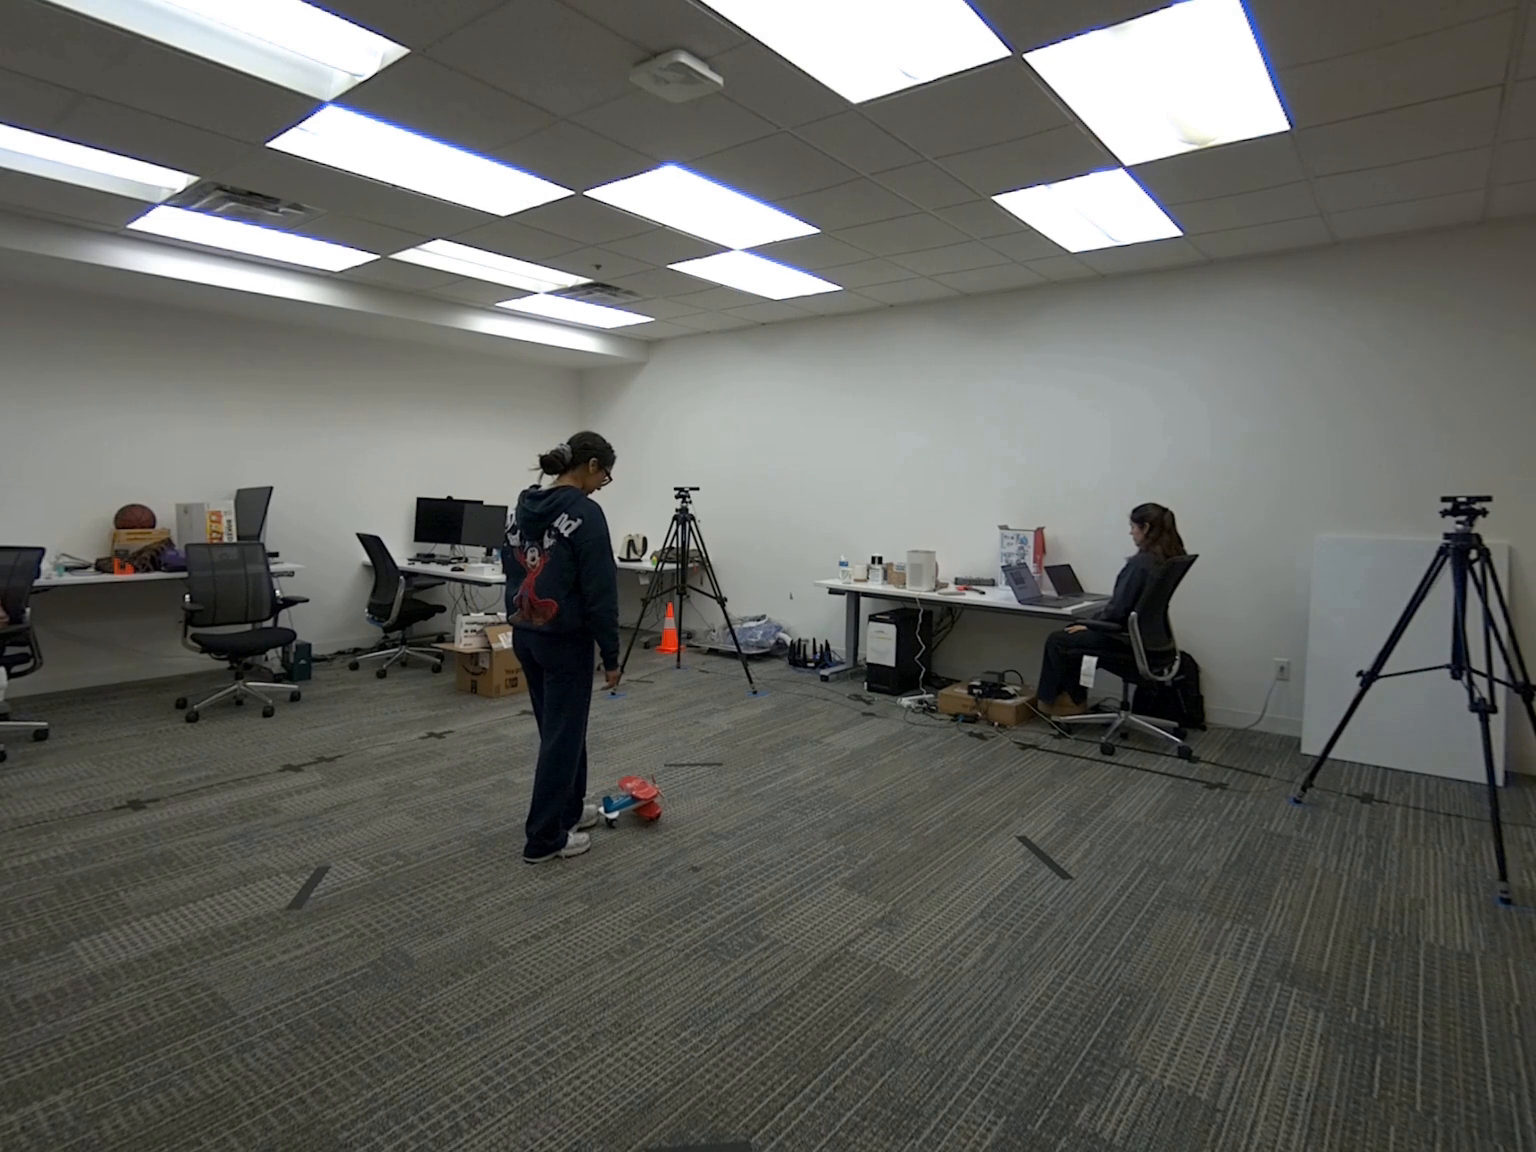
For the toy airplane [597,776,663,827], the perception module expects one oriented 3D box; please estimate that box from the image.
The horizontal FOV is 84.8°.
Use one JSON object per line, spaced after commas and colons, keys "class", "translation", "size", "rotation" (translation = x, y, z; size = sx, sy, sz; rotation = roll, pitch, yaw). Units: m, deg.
{"class": "toy airplane", "translation": [-0.569, 0.947, 3.529], "size": [0.258, 0.156, 0.253], "rotation": [3, 4, 25]}
